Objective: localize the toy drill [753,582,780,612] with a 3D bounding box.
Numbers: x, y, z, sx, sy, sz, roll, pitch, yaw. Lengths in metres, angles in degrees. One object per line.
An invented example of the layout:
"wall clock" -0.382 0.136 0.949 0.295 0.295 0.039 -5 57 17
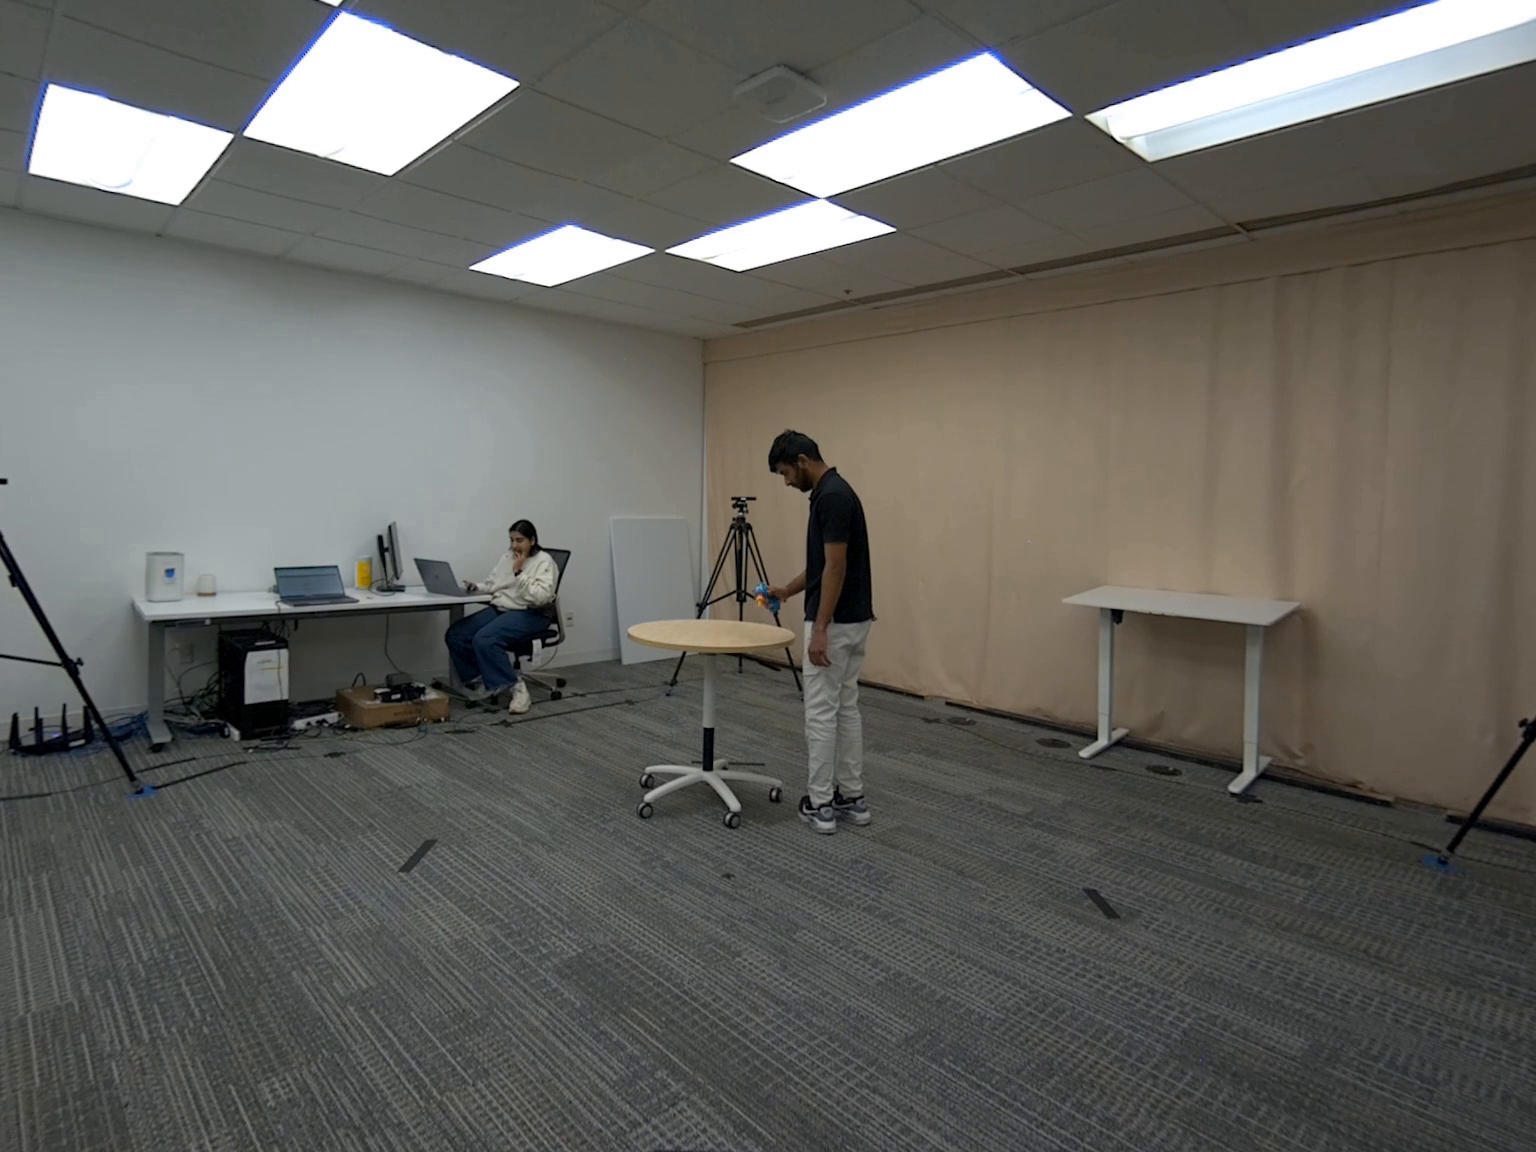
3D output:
"toy drill" -0.012 0.110 3.678 0.143 0.061 0.173 33 28 -17
